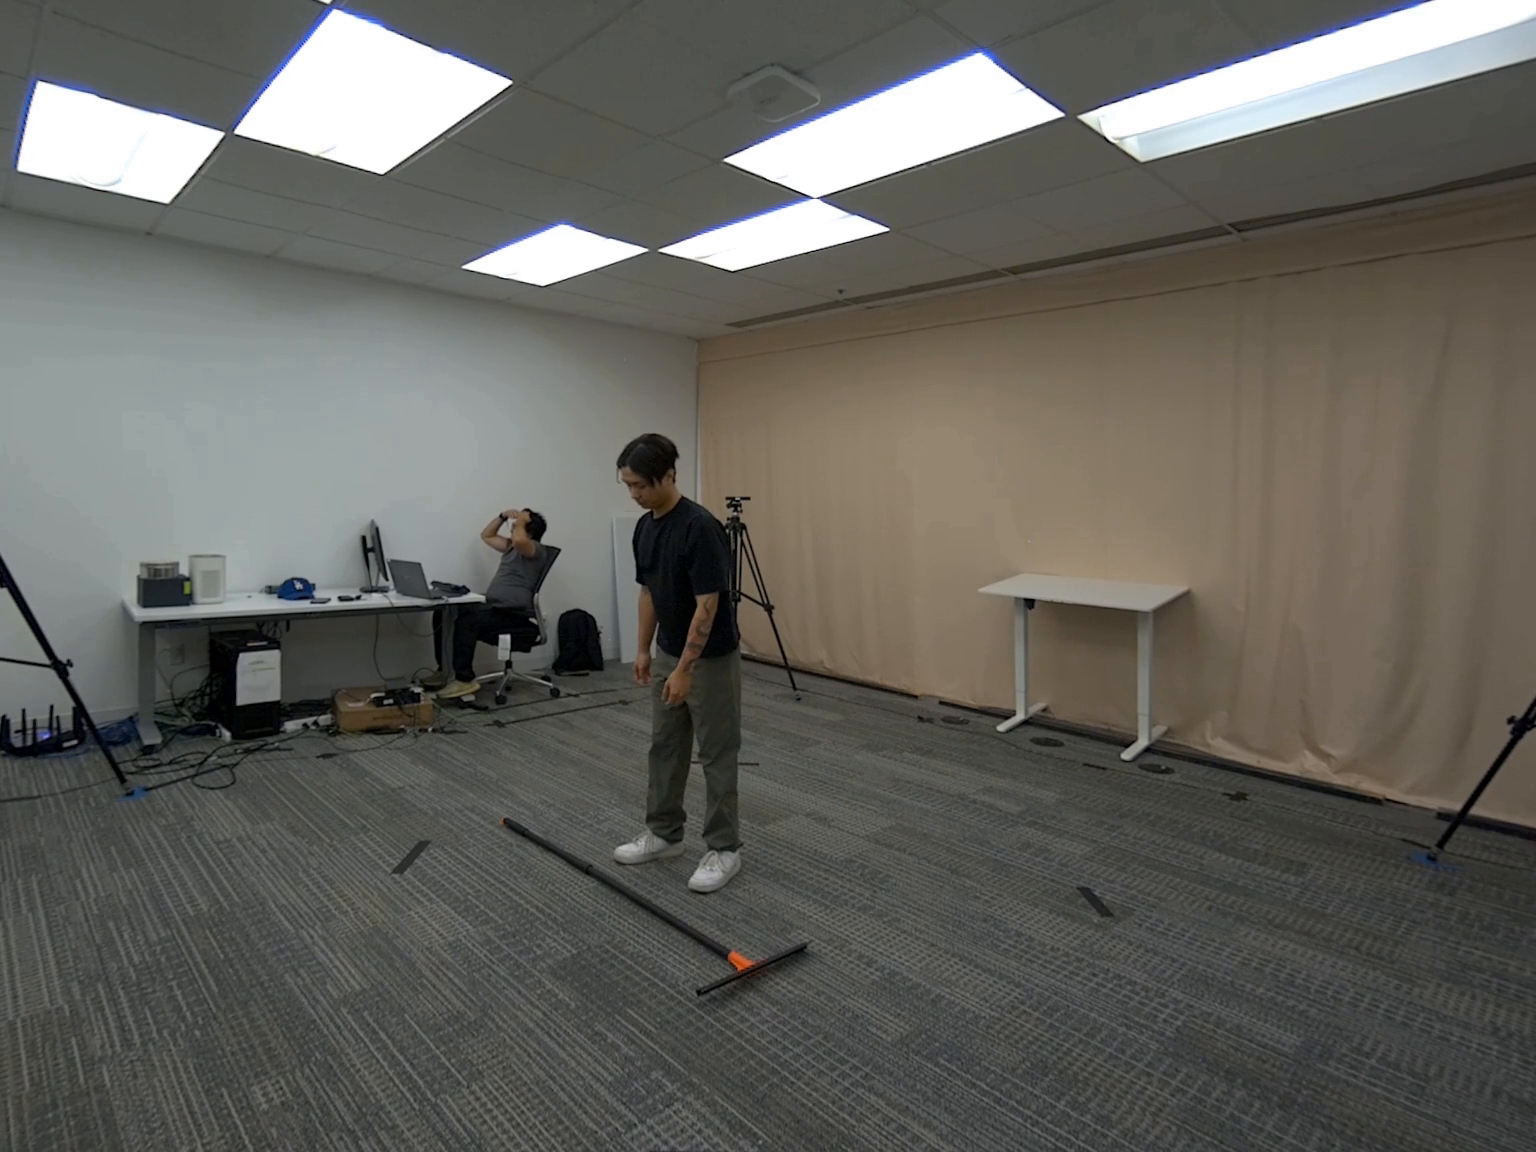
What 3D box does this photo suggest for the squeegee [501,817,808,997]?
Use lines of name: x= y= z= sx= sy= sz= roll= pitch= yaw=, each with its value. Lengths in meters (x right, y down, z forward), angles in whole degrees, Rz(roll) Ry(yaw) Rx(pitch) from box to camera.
squeegee: x=-0.565 y=1.068 z=2.992 sx=0.427 sy=0.053 sz=1.577 roll=-1 pitch=5 yaw=-44
